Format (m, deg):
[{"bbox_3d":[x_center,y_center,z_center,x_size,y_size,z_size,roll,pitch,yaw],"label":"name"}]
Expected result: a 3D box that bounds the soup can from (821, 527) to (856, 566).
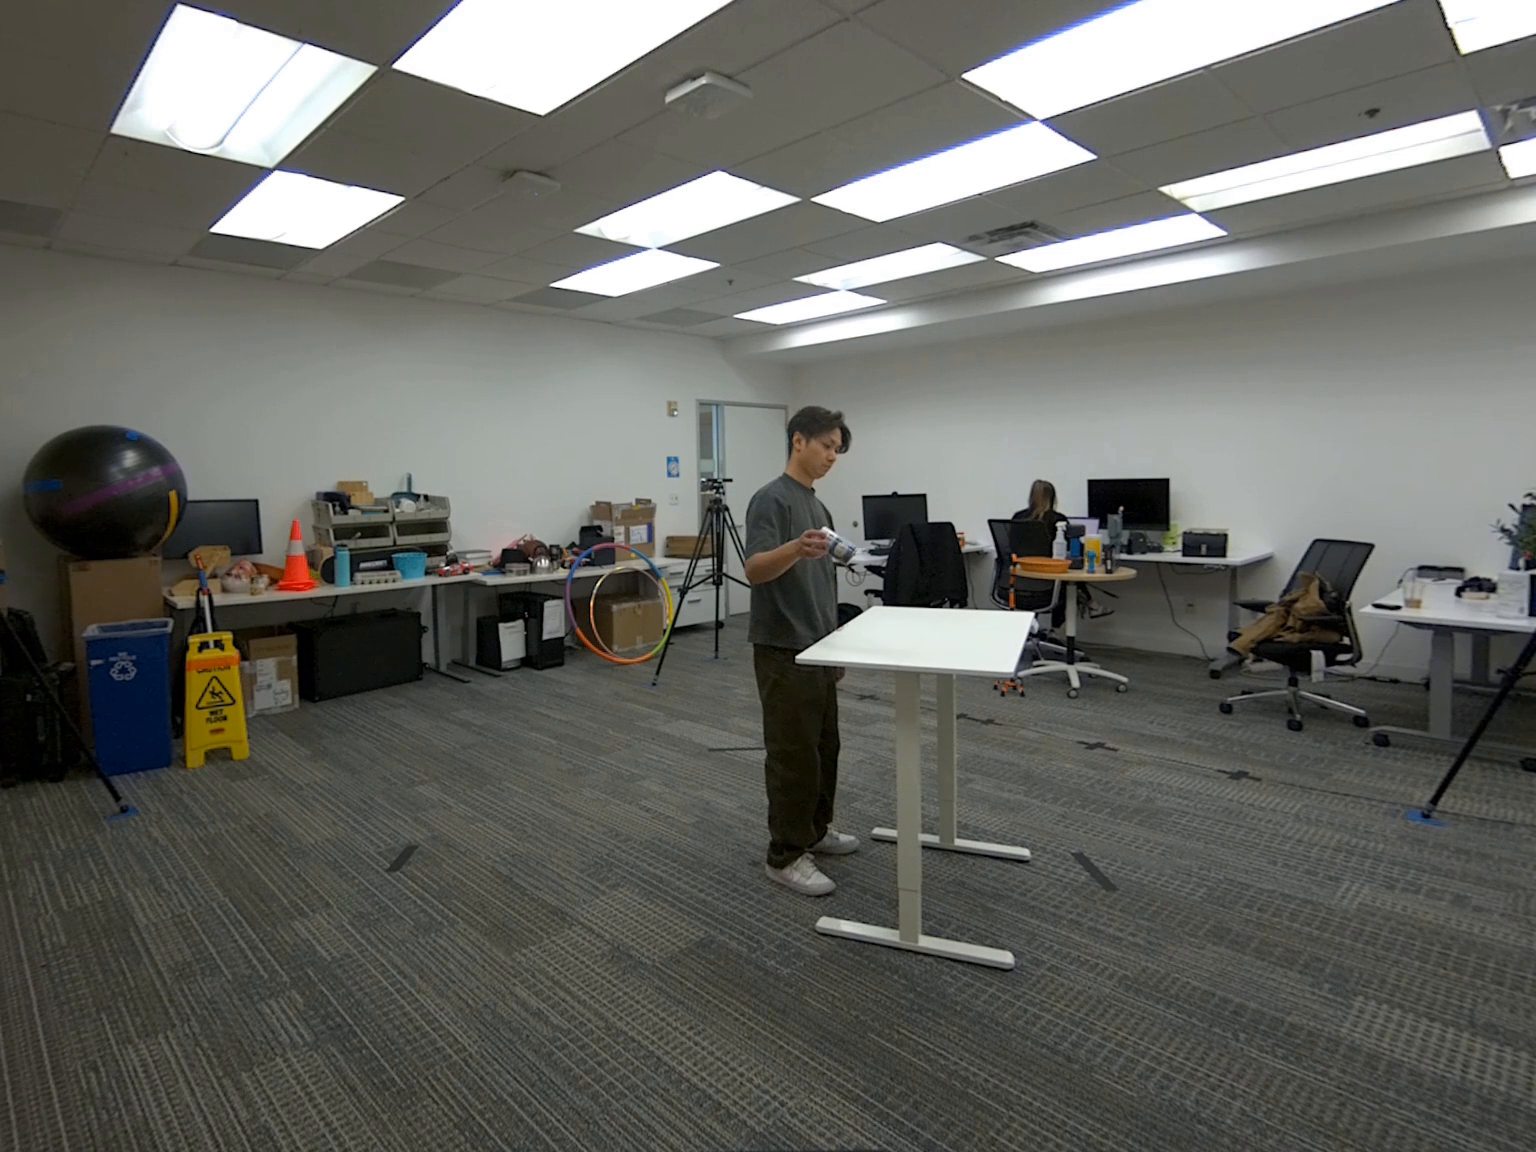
[{"bbox_3d":[0.182,-0.080,2.523,0.123,0.067,0.066,36,10,7],"label":"soup can"}]
